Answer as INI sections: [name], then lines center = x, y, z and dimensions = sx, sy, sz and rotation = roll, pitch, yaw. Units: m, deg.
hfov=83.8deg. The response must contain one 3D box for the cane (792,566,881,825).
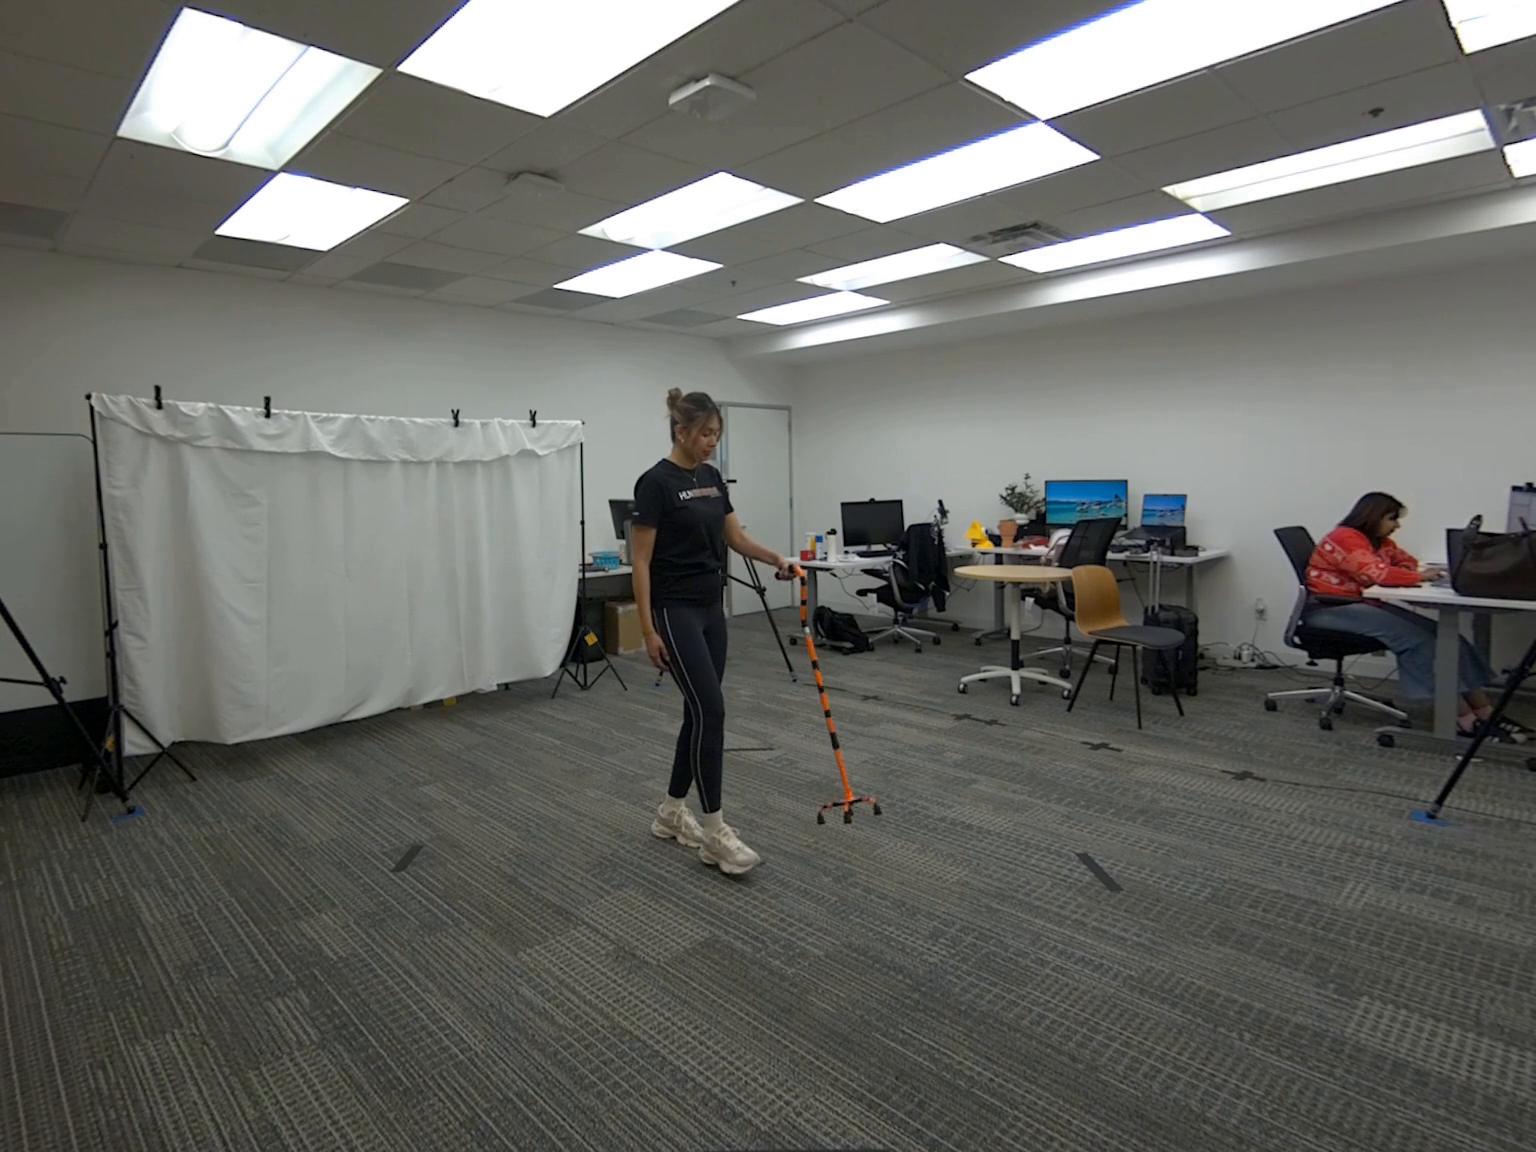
[cane]
center = 0.174, 0.405, 3.047
dimensions = 0.149, 0.920, 0.208
rotation = -6, -13, -25
